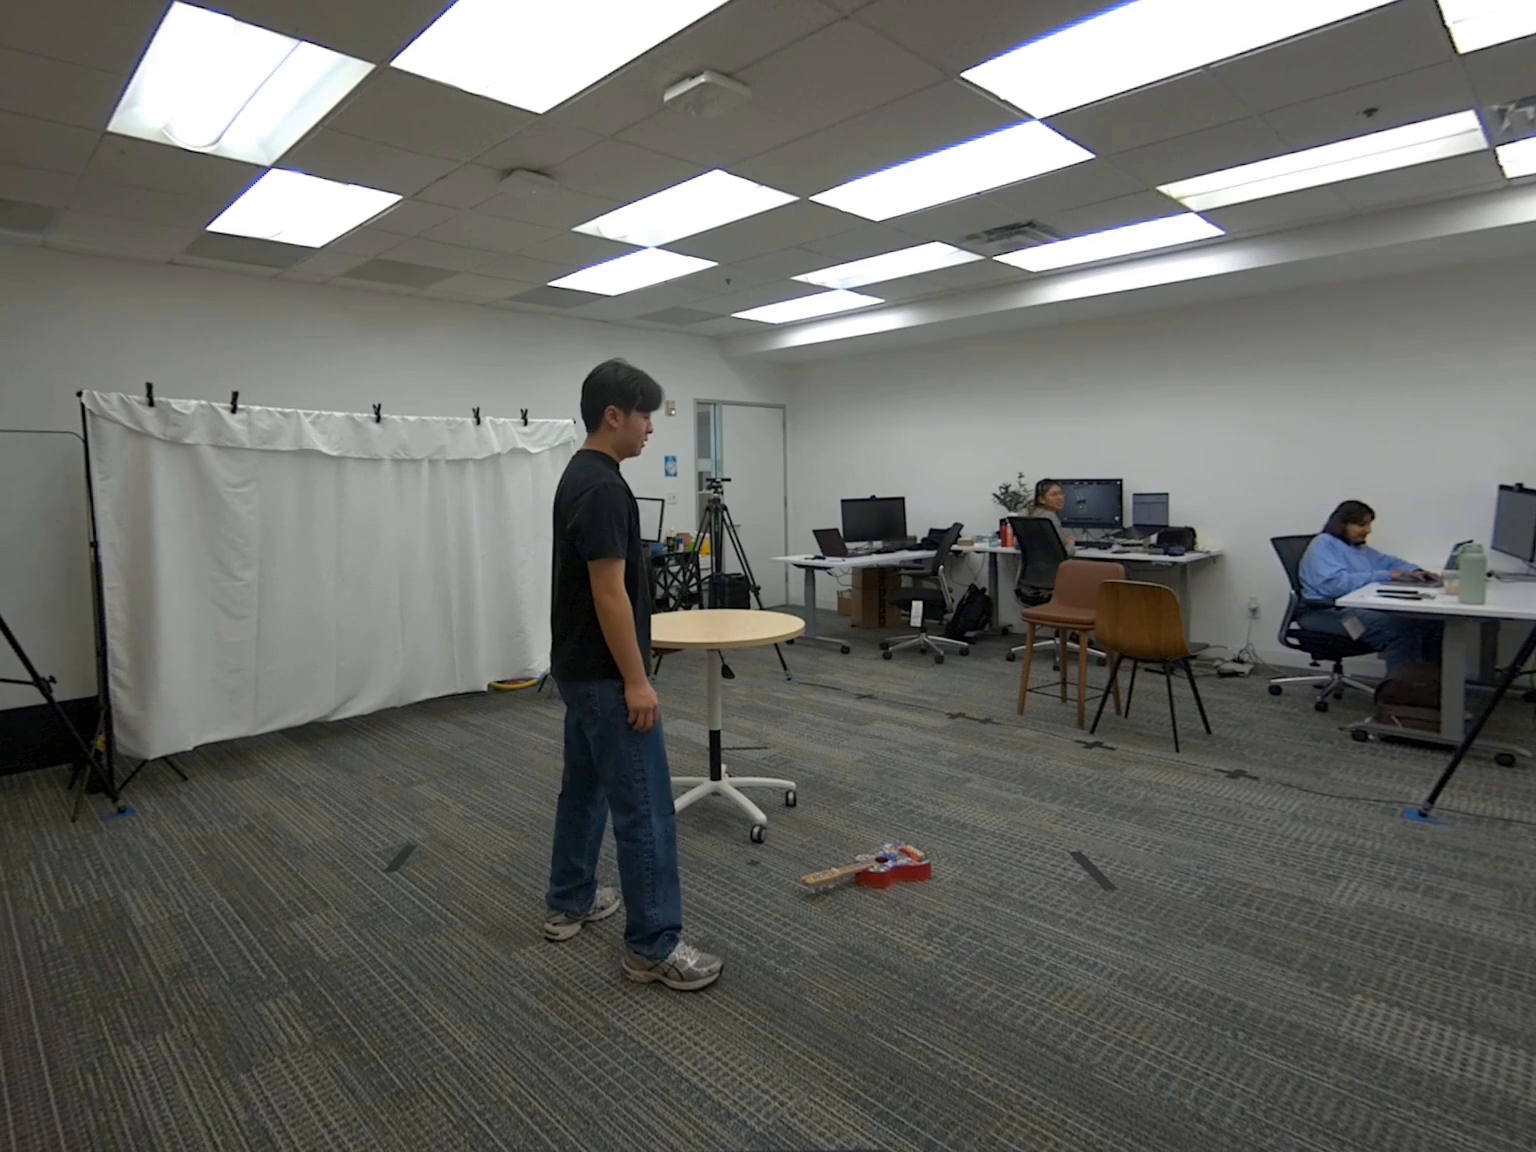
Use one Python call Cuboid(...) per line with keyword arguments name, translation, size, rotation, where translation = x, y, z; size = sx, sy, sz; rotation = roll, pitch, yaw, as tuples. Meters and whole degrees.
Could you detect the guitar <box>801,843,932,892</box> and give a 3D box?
Cuboid(name="guitar", translation=(0.325, 1.017, 2.971), size=(0.489, 0.070, 0.197), rotation=(-3, 7, -19))
